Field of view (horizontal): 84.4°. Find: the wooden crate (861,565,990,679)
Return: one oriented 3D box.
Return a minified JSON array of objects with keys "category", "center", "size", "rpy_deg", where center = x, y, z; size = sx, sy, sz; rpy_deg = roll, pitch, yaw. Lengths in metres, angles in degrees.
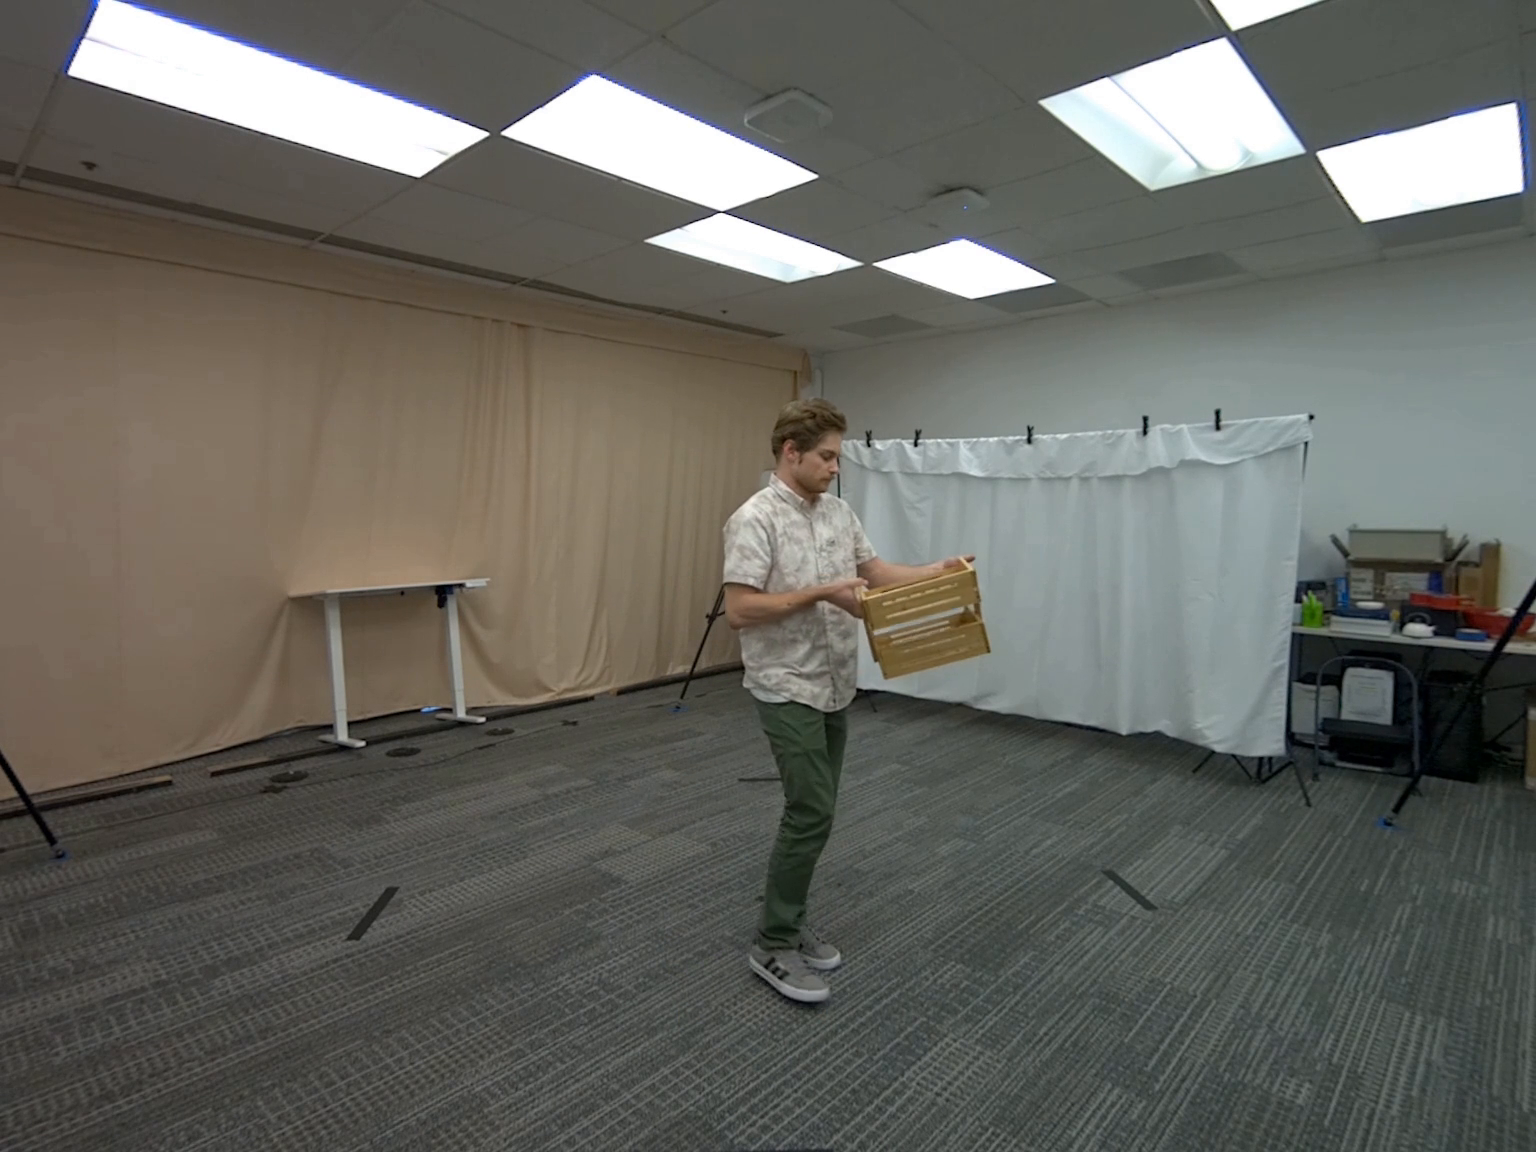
[{"category":"wooden crate","center":[0.446,0.106,2.404],"size":[0.326,0.270,0.304],"rpy_deg":[-16,13,5]}]
